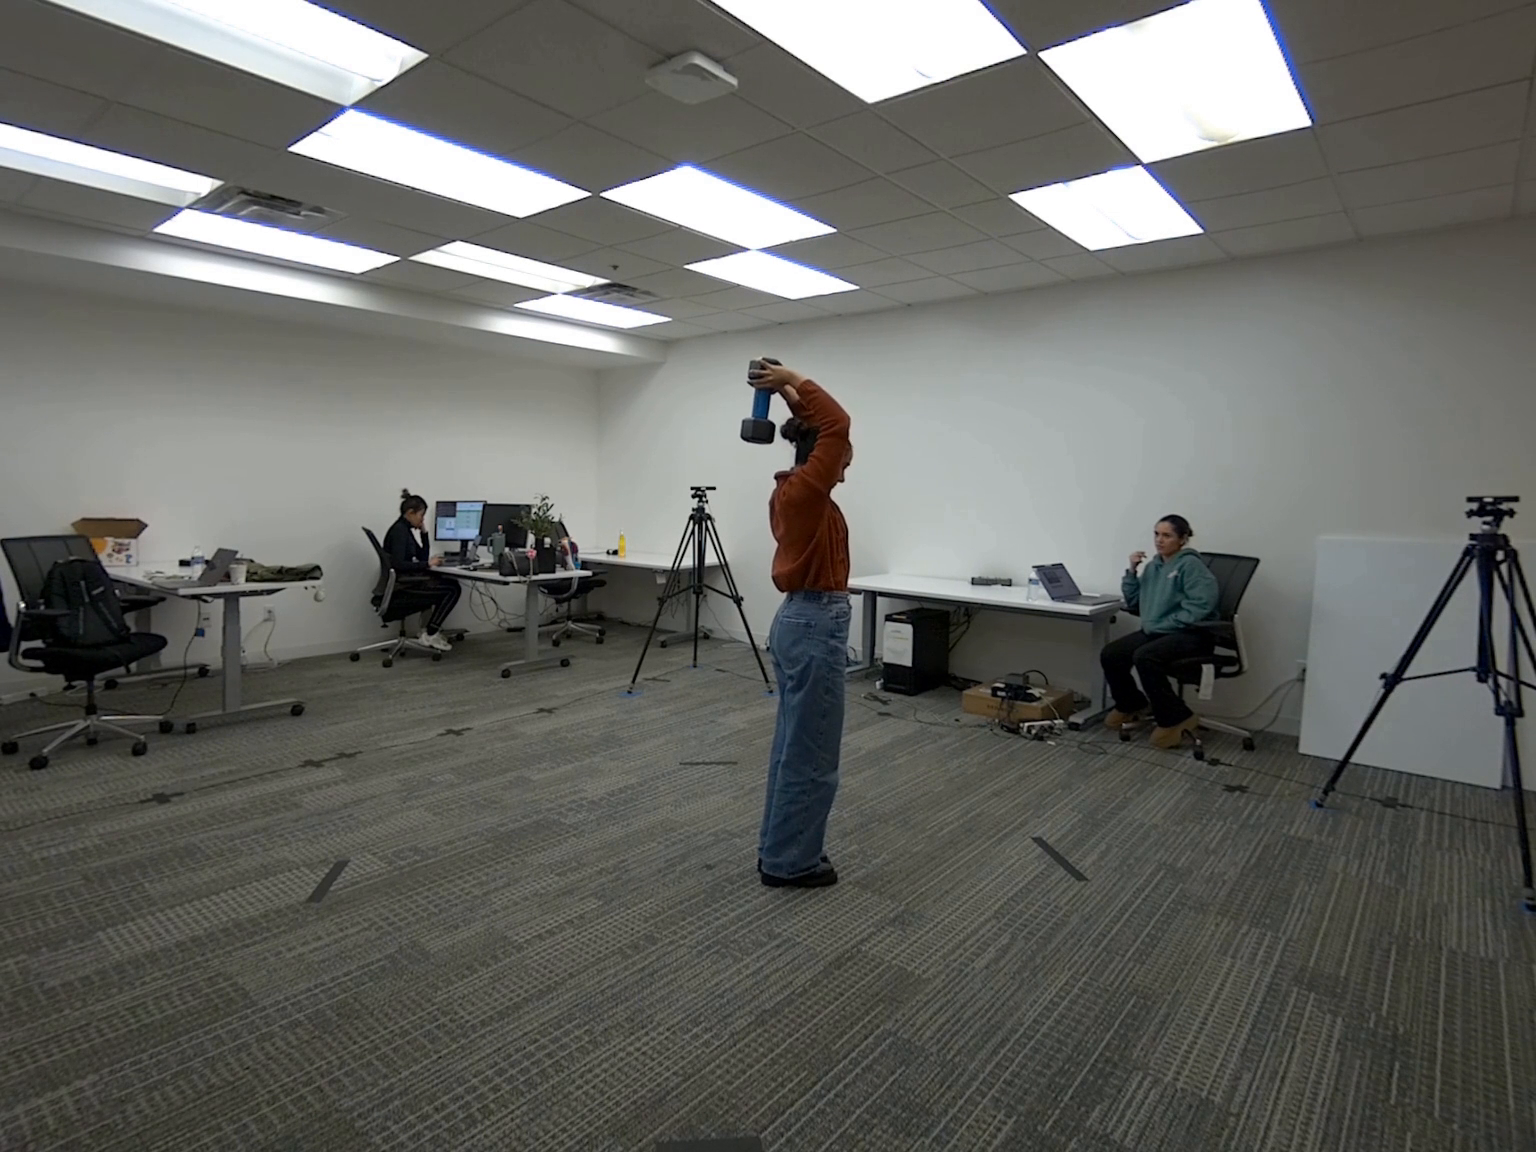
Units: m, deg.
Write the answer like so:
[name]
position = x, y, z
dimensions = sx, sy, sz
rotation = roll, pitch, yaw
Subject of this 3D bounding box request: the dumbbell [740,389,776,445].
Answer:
[dumbbell]
position = -0.024, -0.619, 2.999
dimensions = 0.121, 0.294, 0.110
rotation = 8, -2, -16
